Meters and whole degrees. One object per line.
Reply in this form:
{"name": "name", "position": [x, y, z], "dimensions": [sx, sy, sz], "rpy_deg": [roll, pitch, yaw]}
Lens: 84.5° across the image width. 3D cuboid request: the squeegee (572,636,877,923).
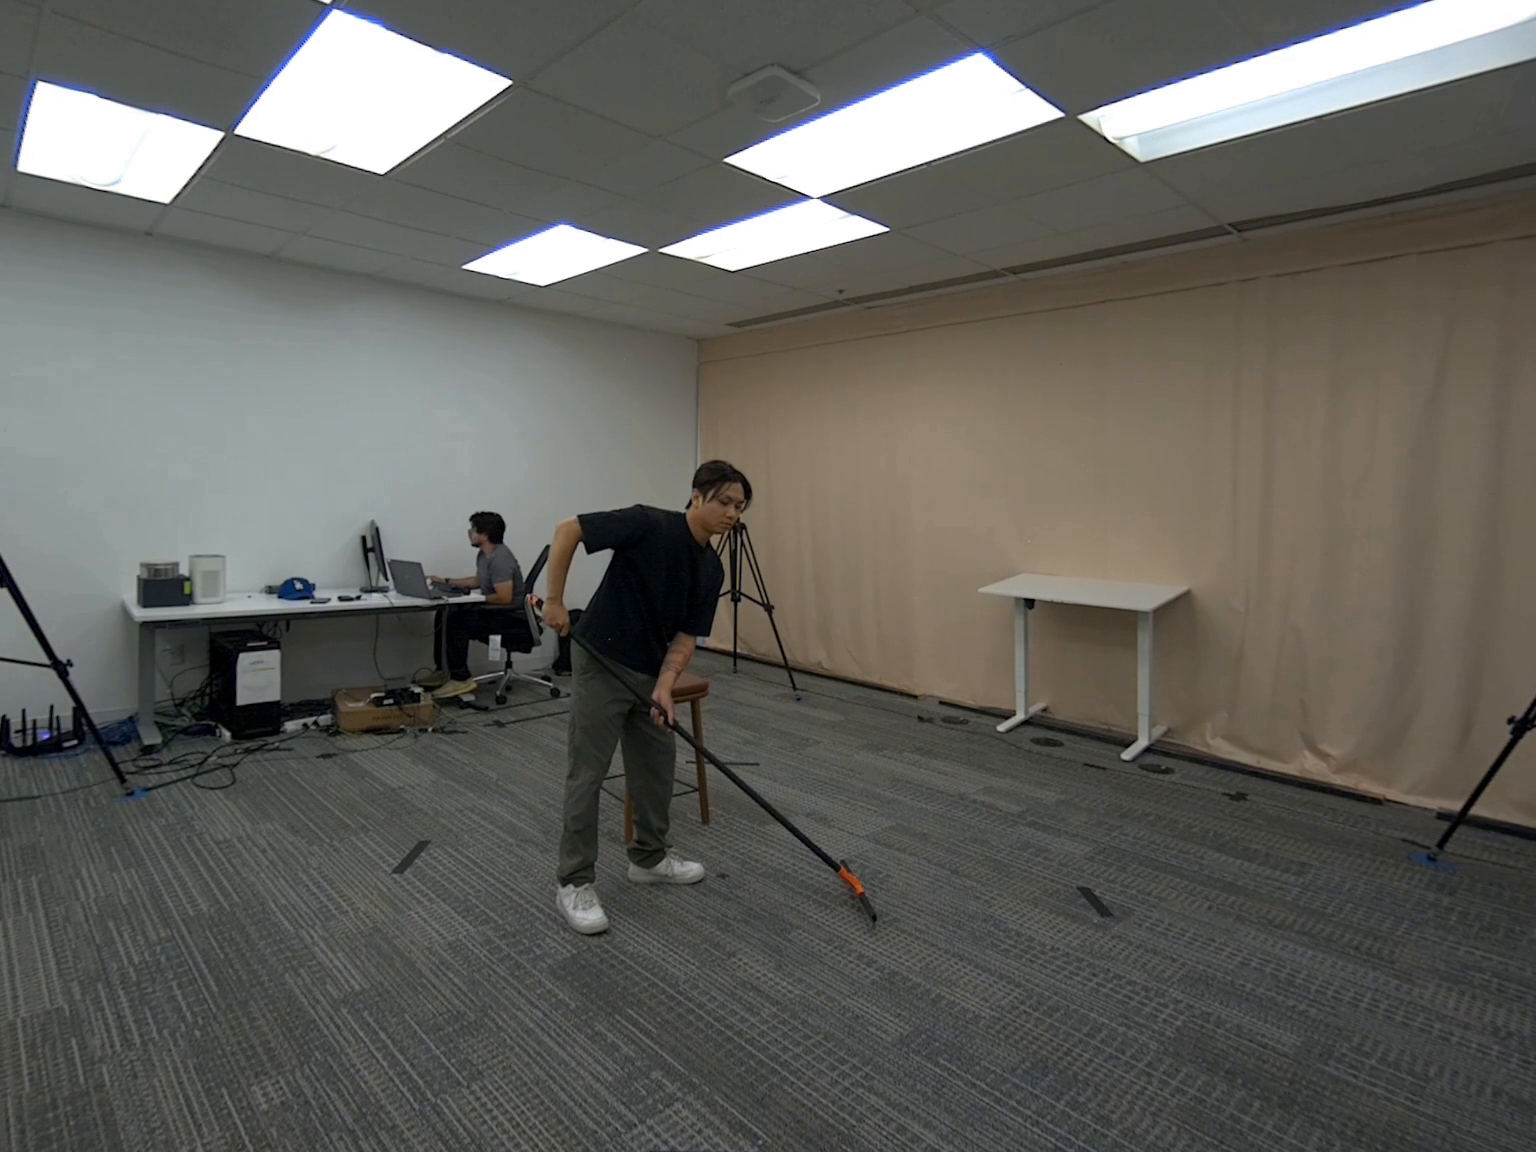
{"name": "squeegee", "position": [-0.197, 0.580, 2.843], "dimensions": [1.524, 0.053, 0.441], "rpy_deg": [43, -2, -8]}
